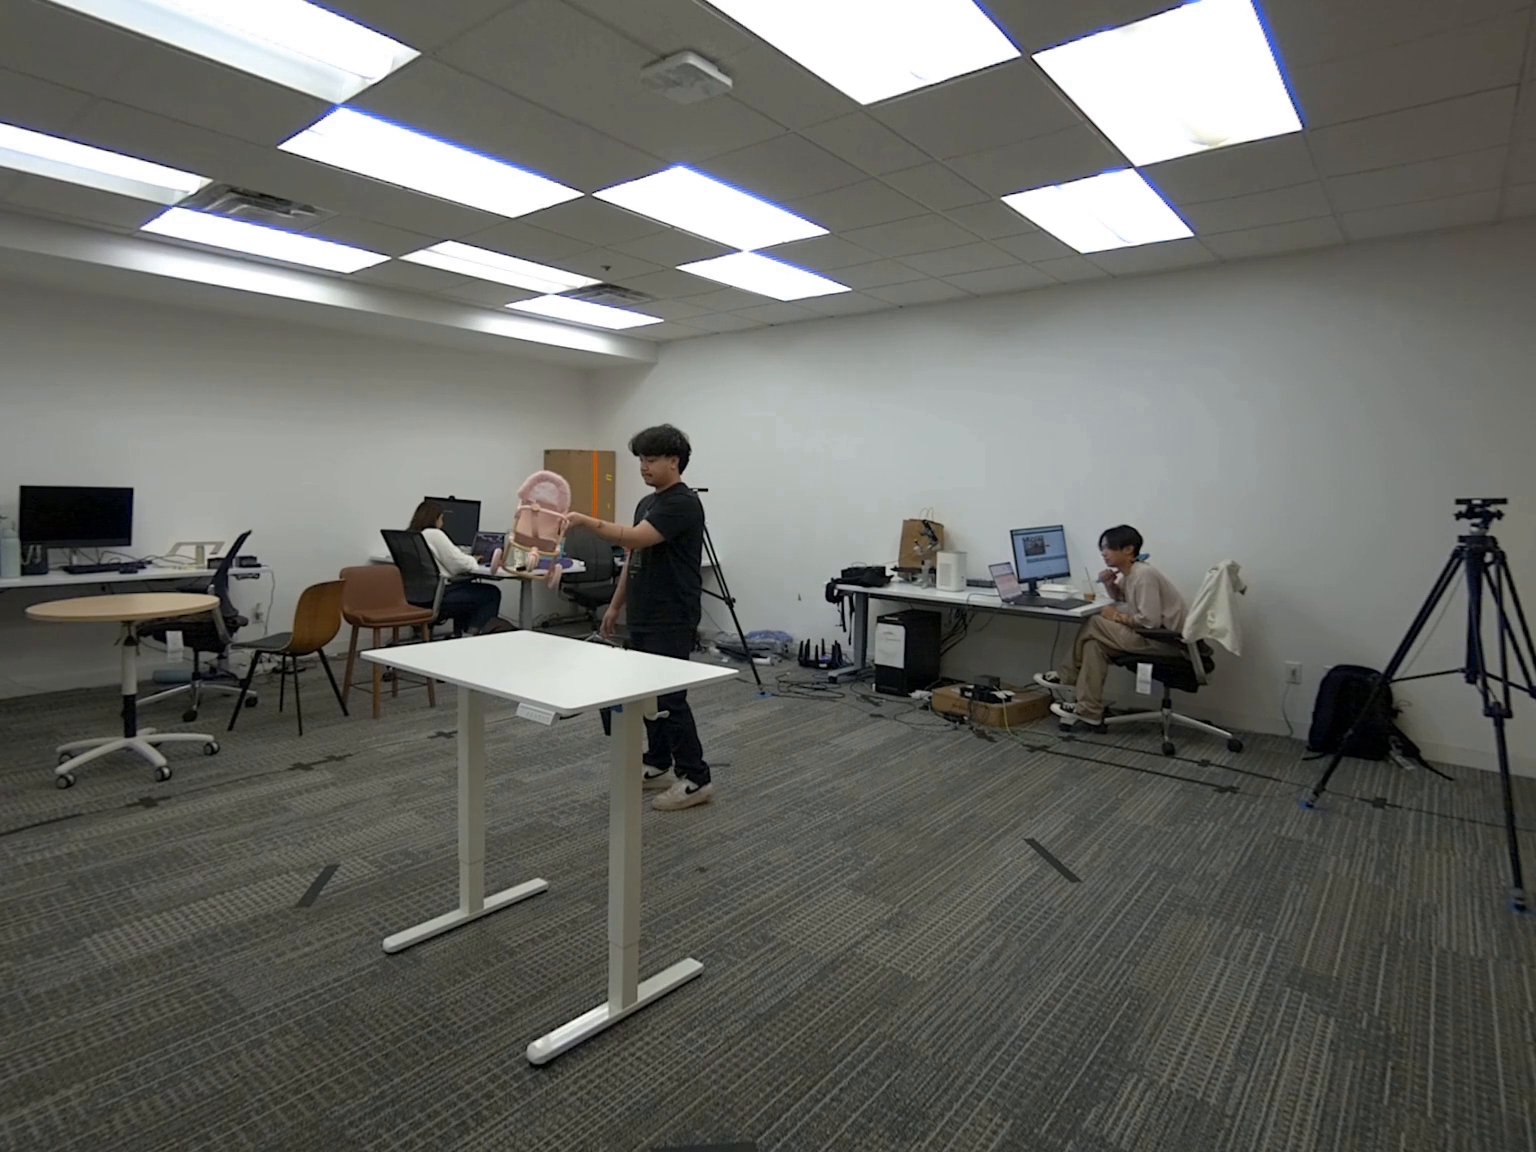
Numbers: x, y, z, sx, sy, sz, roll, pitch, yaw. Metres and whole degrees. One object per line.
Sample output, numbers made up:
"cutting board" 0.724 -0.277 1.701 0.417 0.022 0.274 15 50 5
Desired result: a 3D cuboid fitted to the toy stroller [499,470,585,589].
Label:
"toy stroller" -0.949 -0.206 3.475 0.277 0.546 0.339 13 -28 -13
